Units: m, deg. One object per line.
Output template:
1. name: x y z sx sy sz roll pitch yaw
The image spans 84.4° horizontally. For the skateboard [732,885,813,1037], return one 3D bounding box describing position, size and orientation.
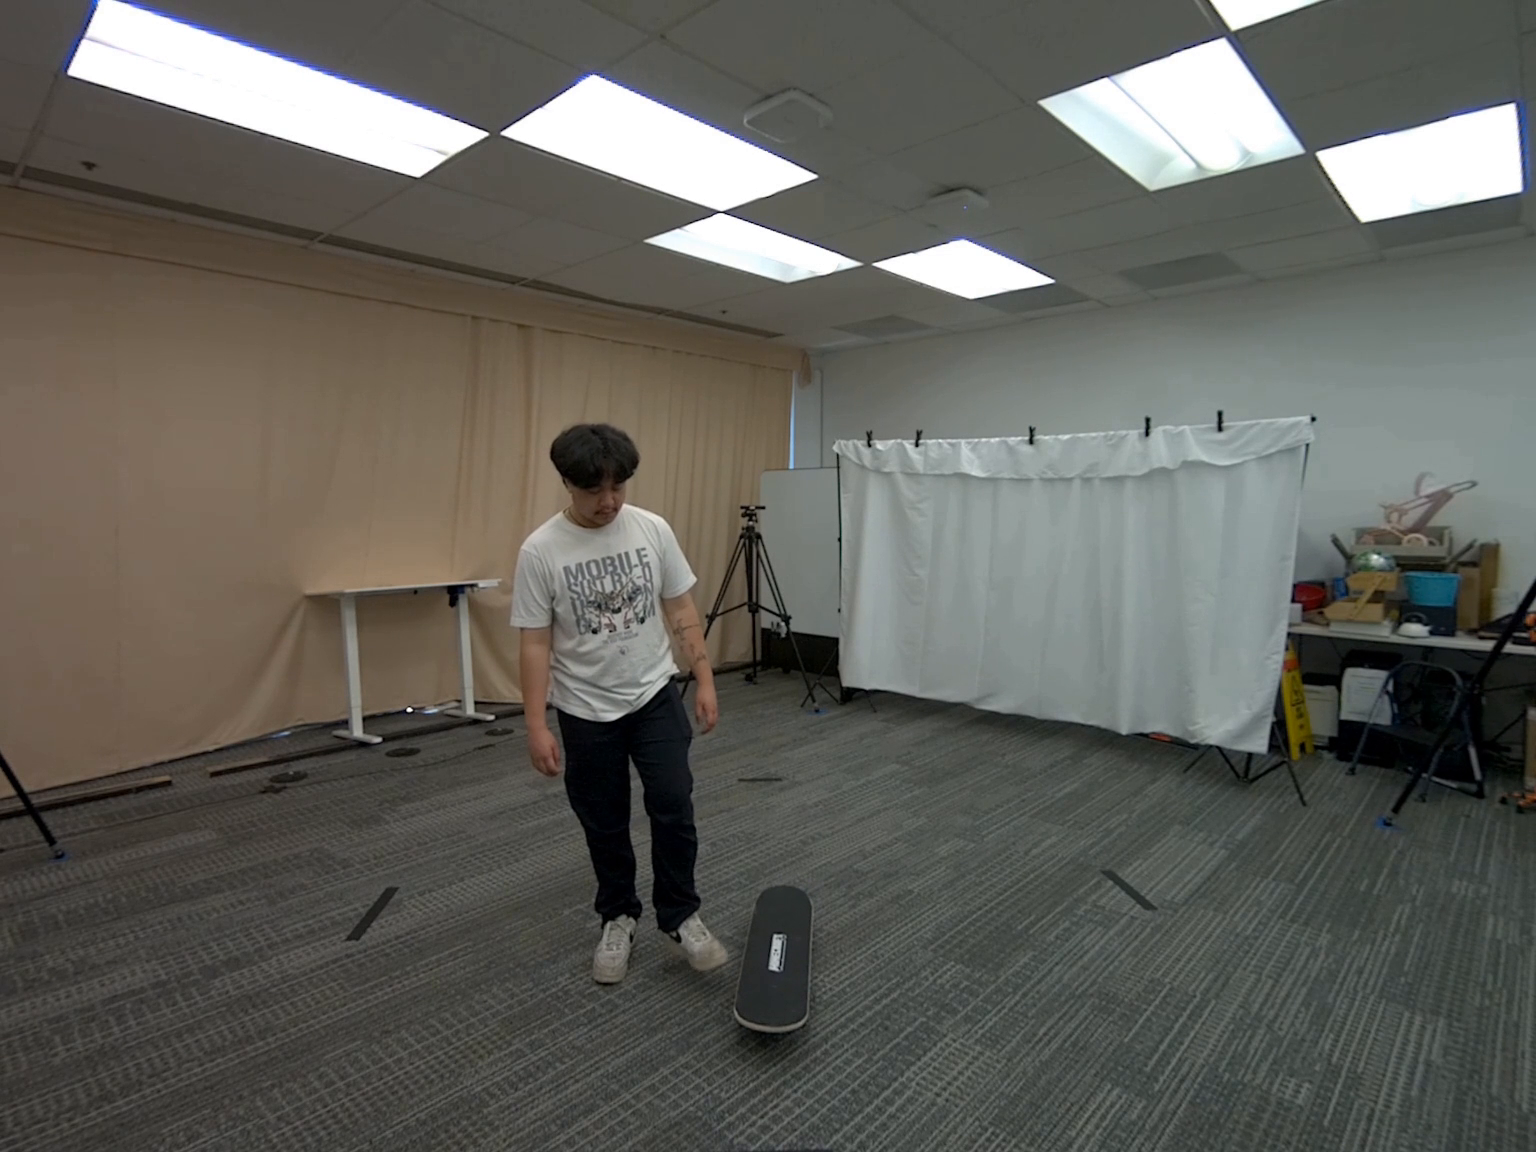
1. skateboard: 0.031 1.125 2.473 0.195 0.110 0.781 1 5 5
